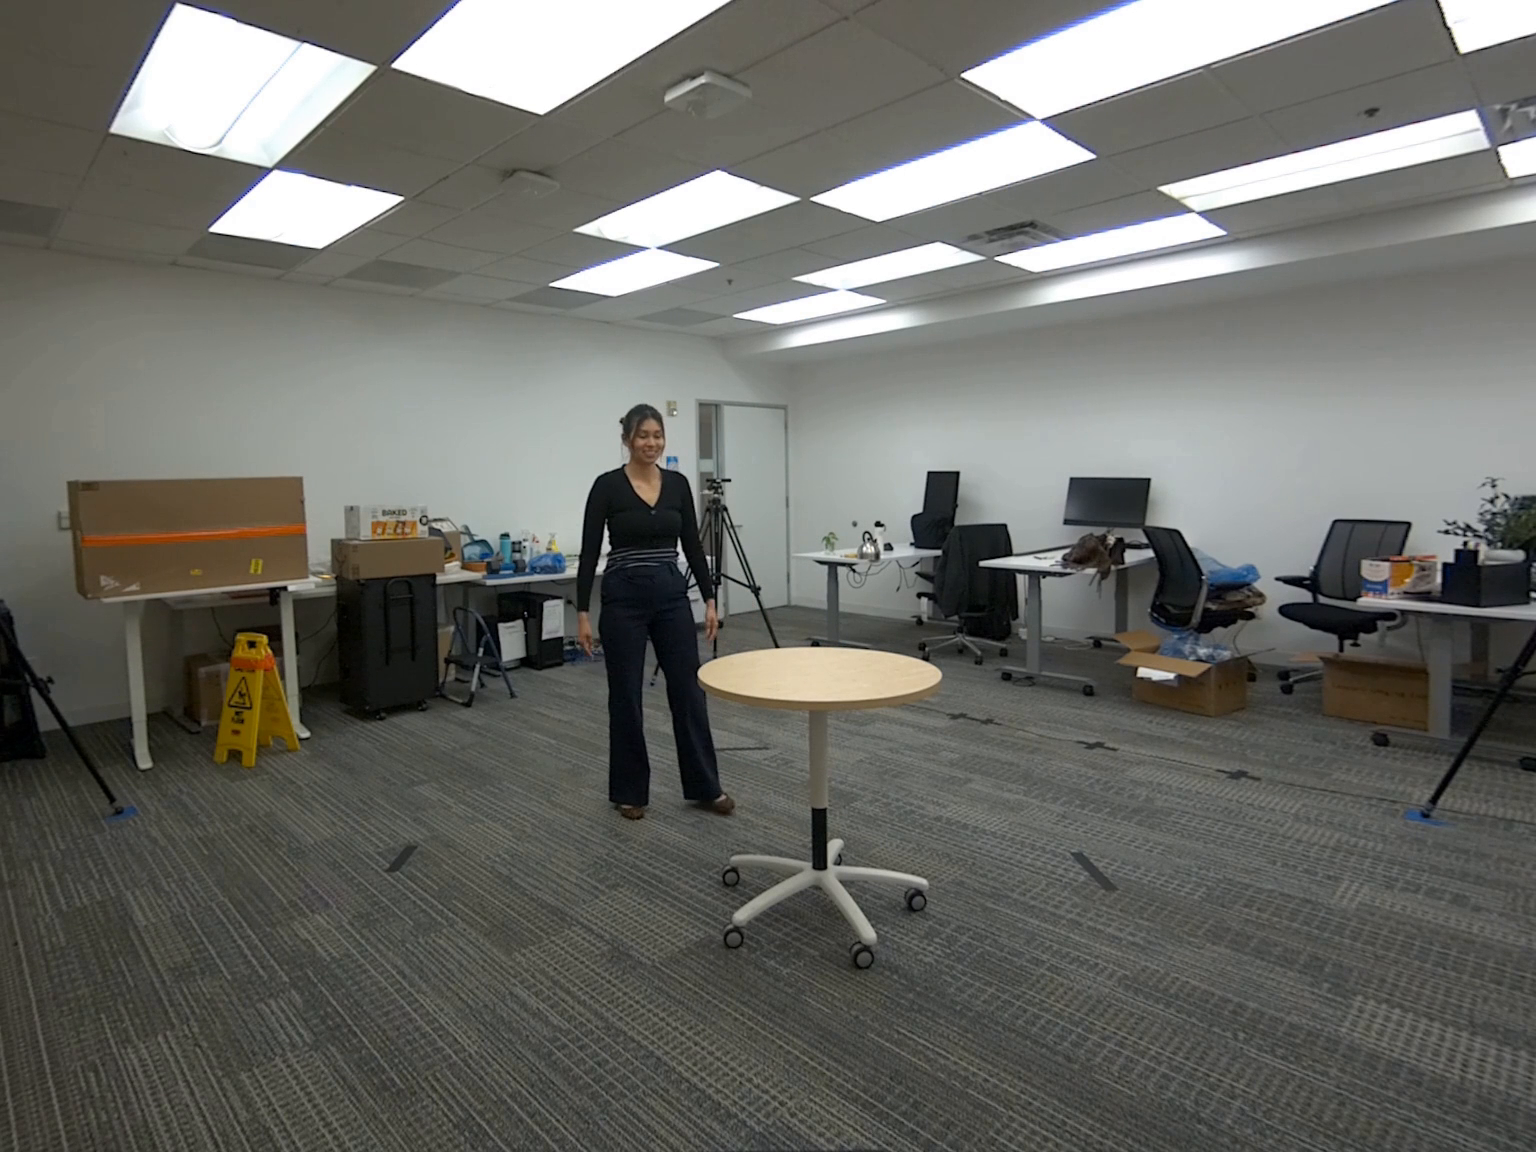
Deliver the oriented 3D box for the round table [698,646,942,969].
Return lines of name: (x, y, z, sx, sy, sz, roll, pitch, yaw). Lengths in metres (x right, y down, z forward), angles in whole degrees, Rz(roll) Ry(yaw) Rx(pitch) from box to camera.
round table: (0.168, 0.694, 2.740, 0.763, 0.791, 0.768, -1, 5, -2)
